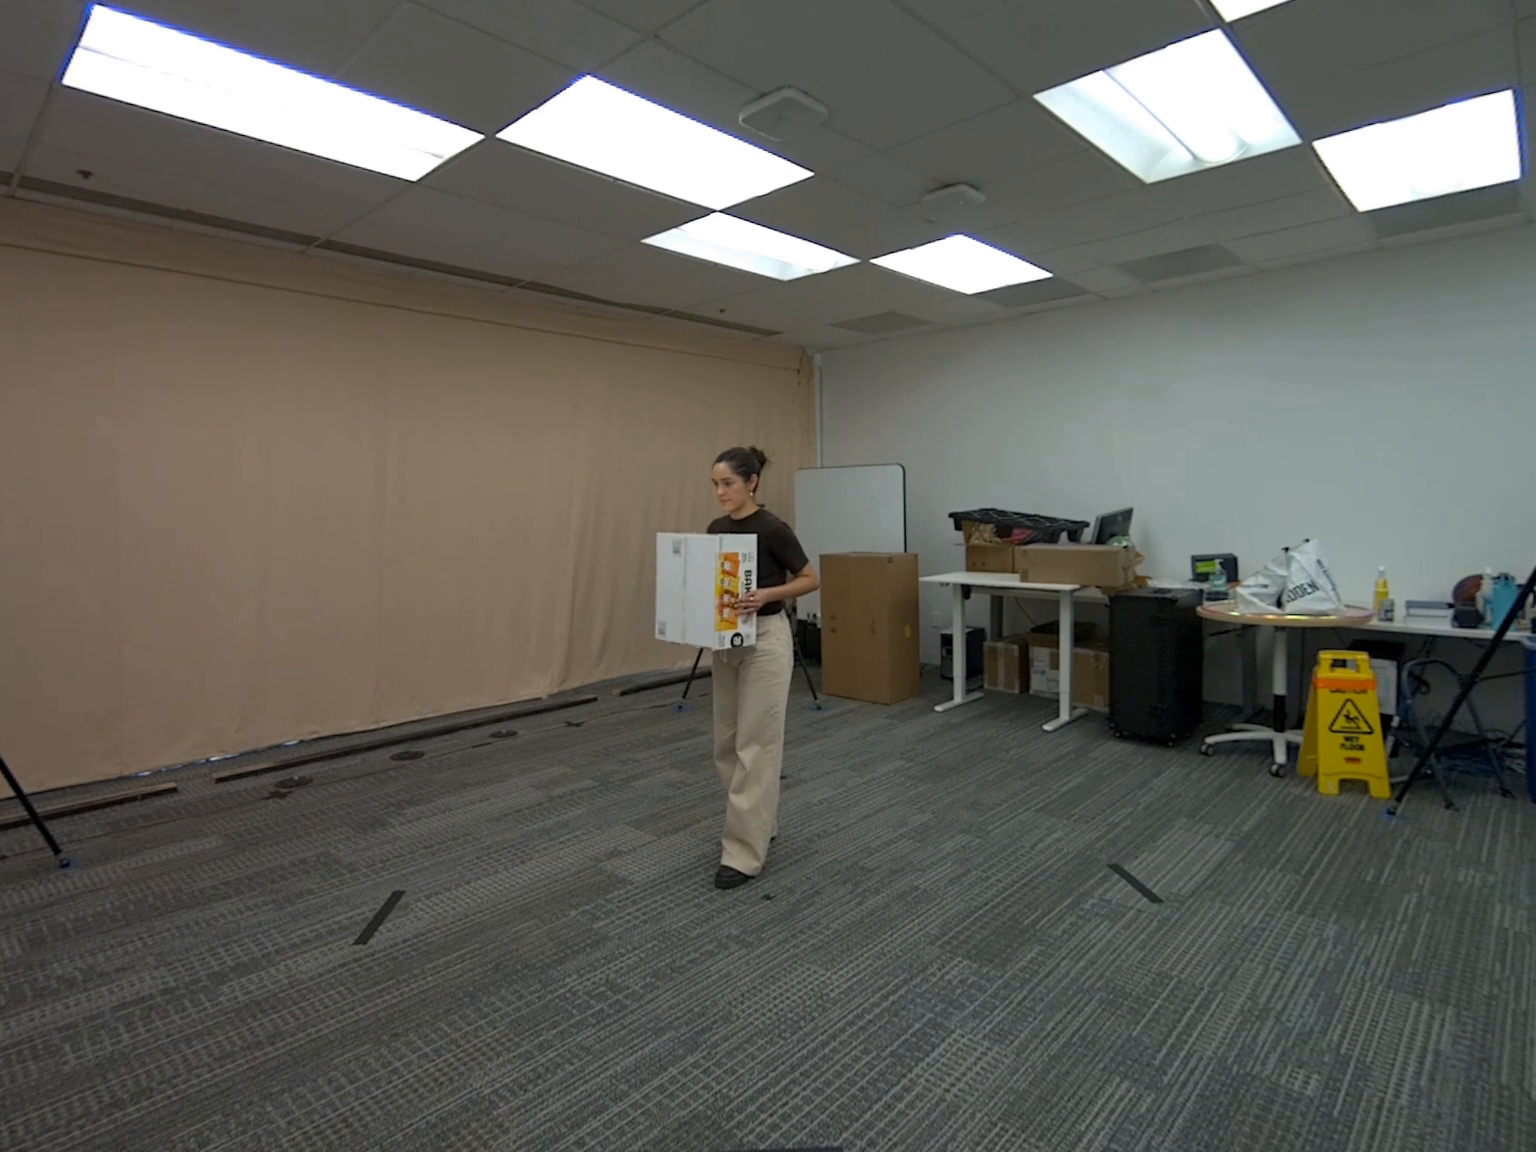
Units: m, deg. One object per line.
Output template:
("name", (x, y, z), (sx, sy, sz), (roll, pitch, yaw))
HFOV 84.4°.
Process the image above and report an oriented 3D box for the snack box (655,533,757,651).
("snack box", (-0.228, 0.046, 3.135), (0.352, 0.404, 0.199), (3, 4, 44))
